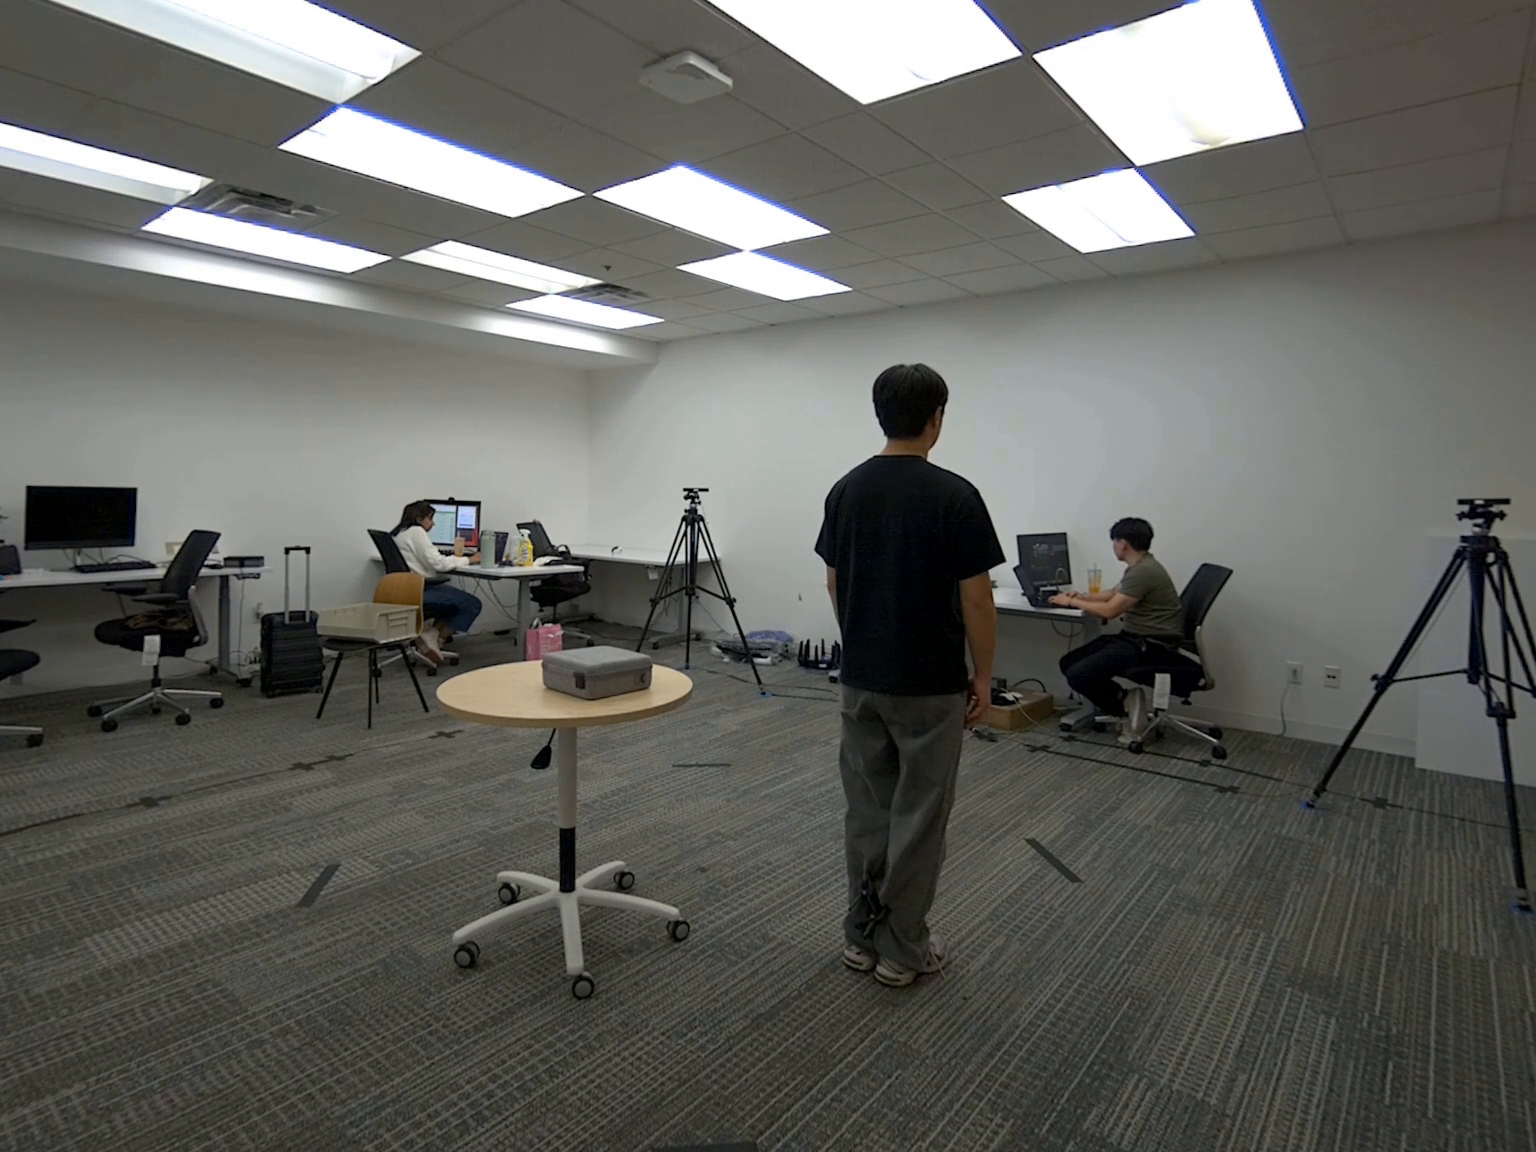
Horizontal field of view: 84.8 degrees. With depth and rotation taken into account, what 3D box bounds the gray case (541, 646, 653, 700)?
[{"bbox_3d":[-0.516,0.280,2.573,0.278,0.103,0.272,-3,7,-44],"label":"gray case"}]
